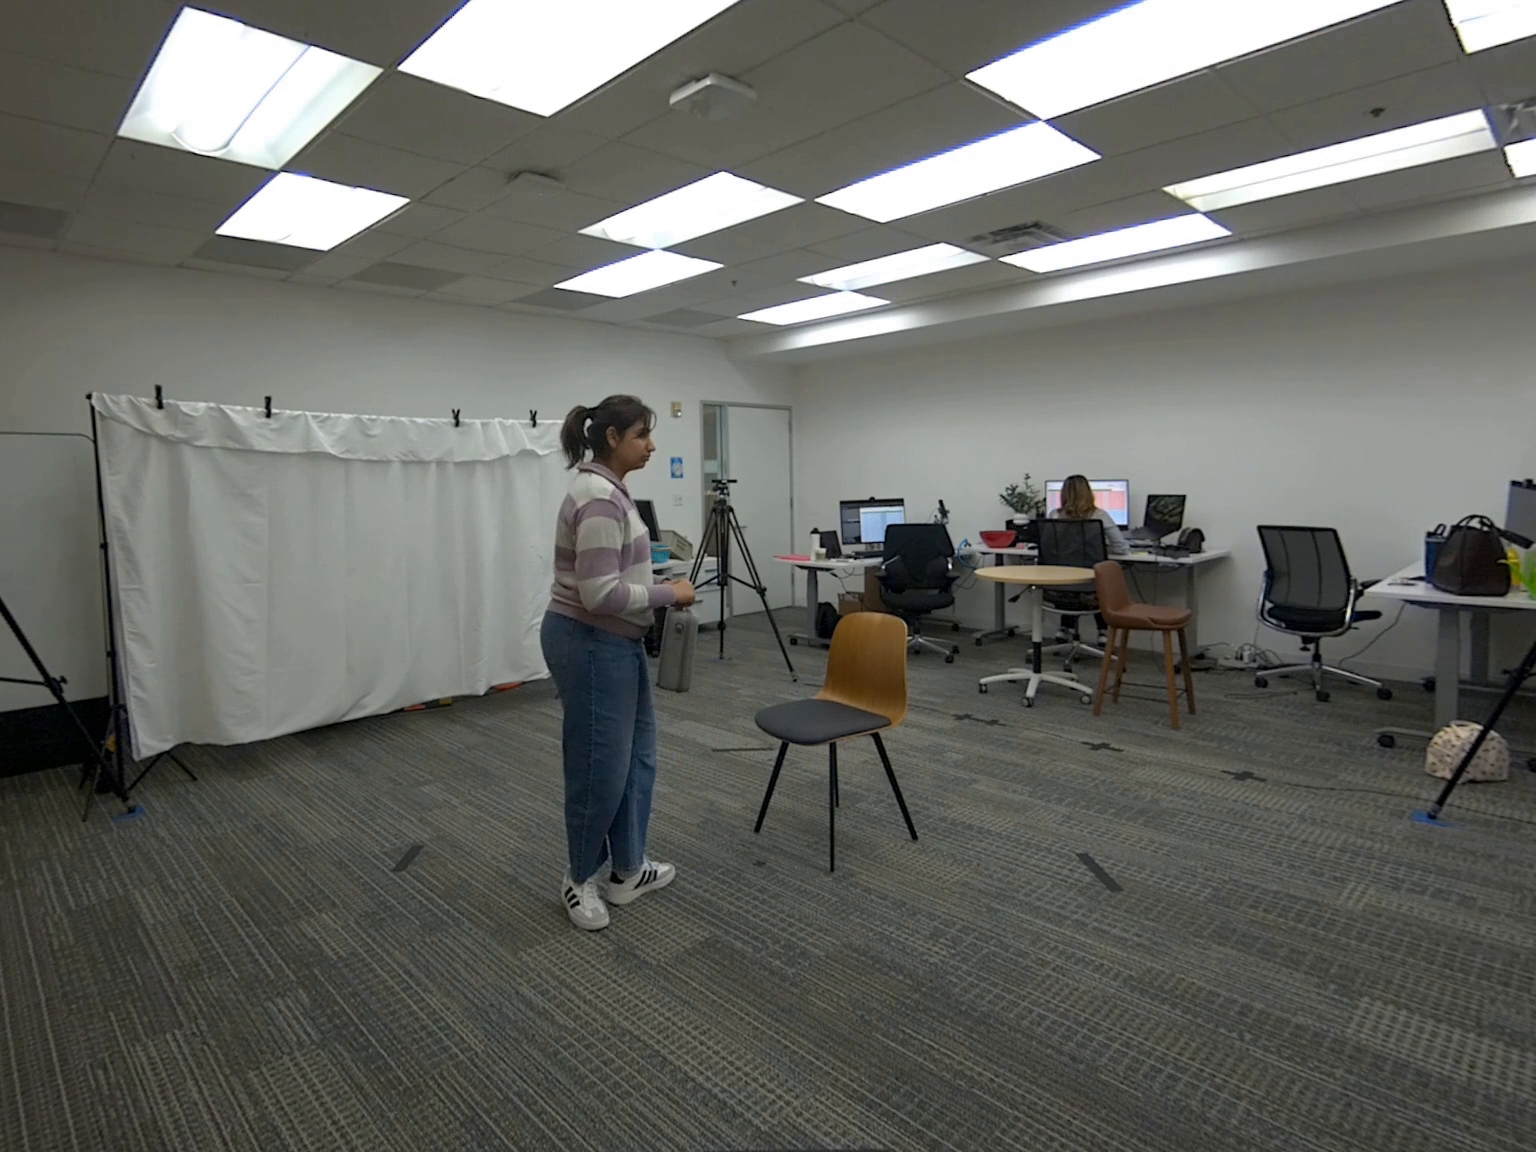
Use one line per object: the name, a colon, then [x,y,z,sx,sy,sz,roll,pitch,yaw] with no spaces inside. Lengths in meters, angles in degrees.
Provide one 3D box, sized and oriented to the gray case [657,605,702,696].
gray case: [-0.287,0.229,2.771,0.104,0.261,0.258,7,-1,-5]
